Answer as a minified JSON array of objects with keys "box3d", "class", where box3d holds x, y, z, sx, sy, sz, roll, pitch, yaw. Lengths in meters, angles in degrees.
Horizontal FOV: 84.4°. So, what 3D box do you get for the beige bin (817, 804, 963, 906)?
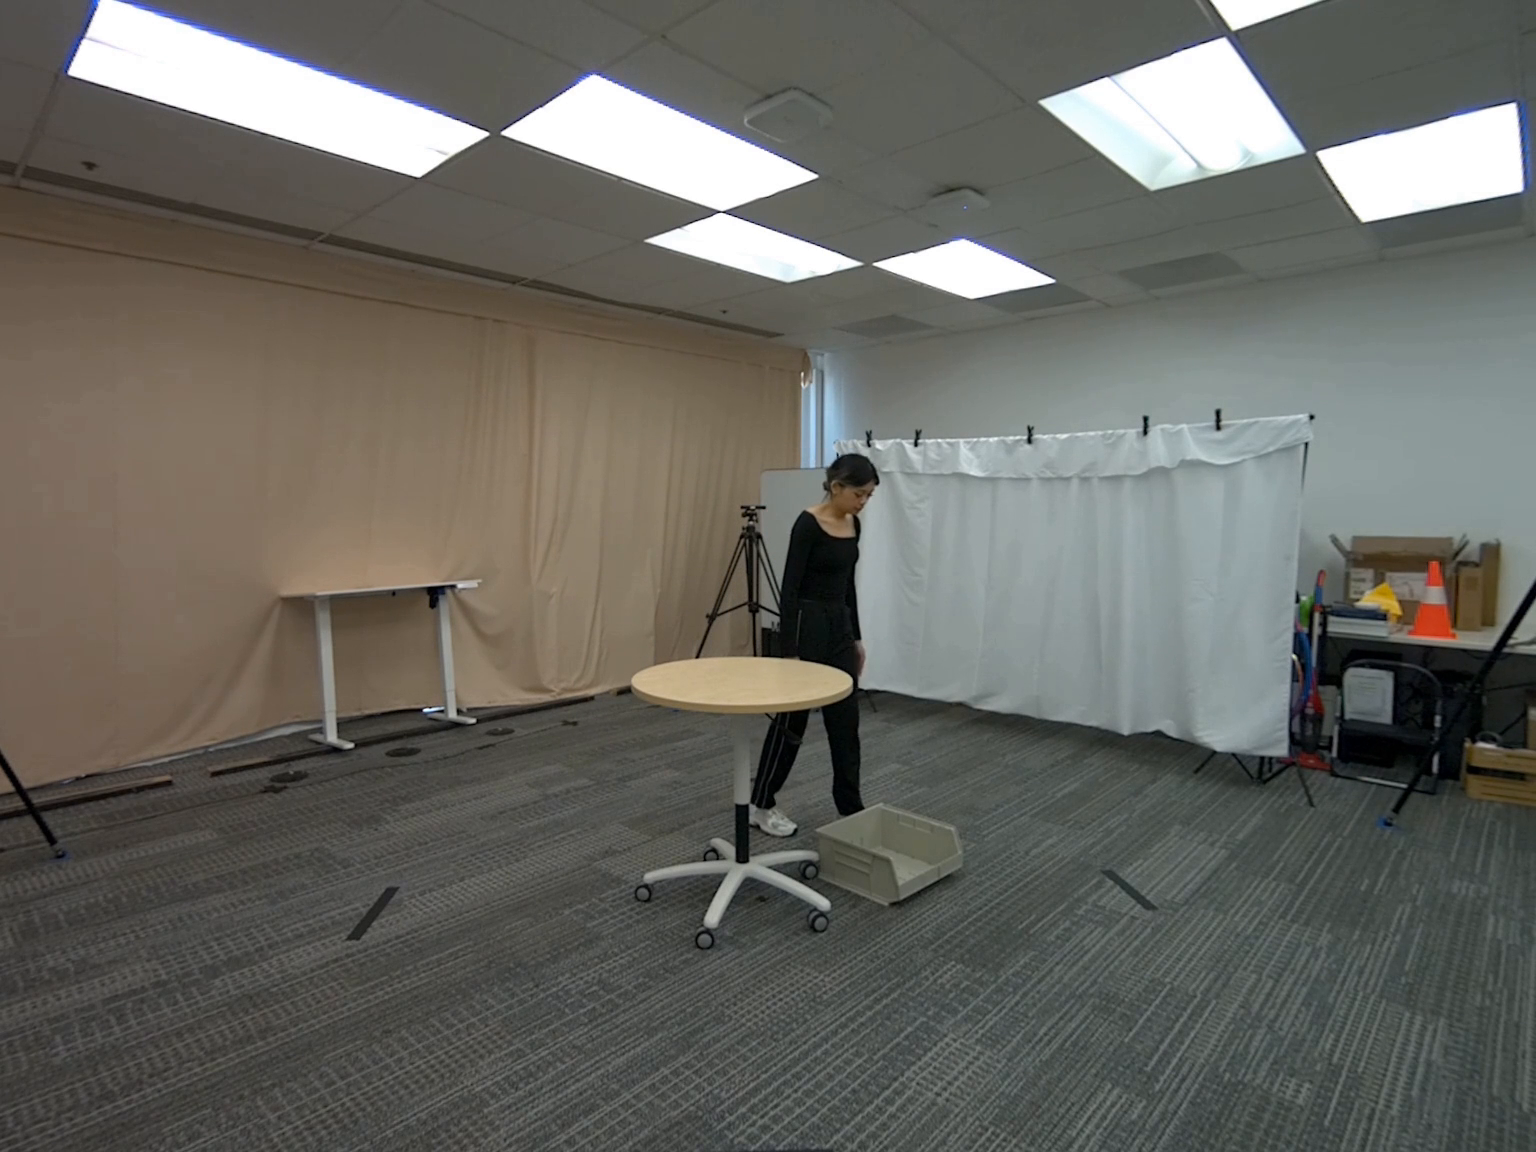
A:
[{"box3d":[0.458,1.042,3.157,0.390,0.188,0.409,3,6,44],"class":"beige bin"}]
